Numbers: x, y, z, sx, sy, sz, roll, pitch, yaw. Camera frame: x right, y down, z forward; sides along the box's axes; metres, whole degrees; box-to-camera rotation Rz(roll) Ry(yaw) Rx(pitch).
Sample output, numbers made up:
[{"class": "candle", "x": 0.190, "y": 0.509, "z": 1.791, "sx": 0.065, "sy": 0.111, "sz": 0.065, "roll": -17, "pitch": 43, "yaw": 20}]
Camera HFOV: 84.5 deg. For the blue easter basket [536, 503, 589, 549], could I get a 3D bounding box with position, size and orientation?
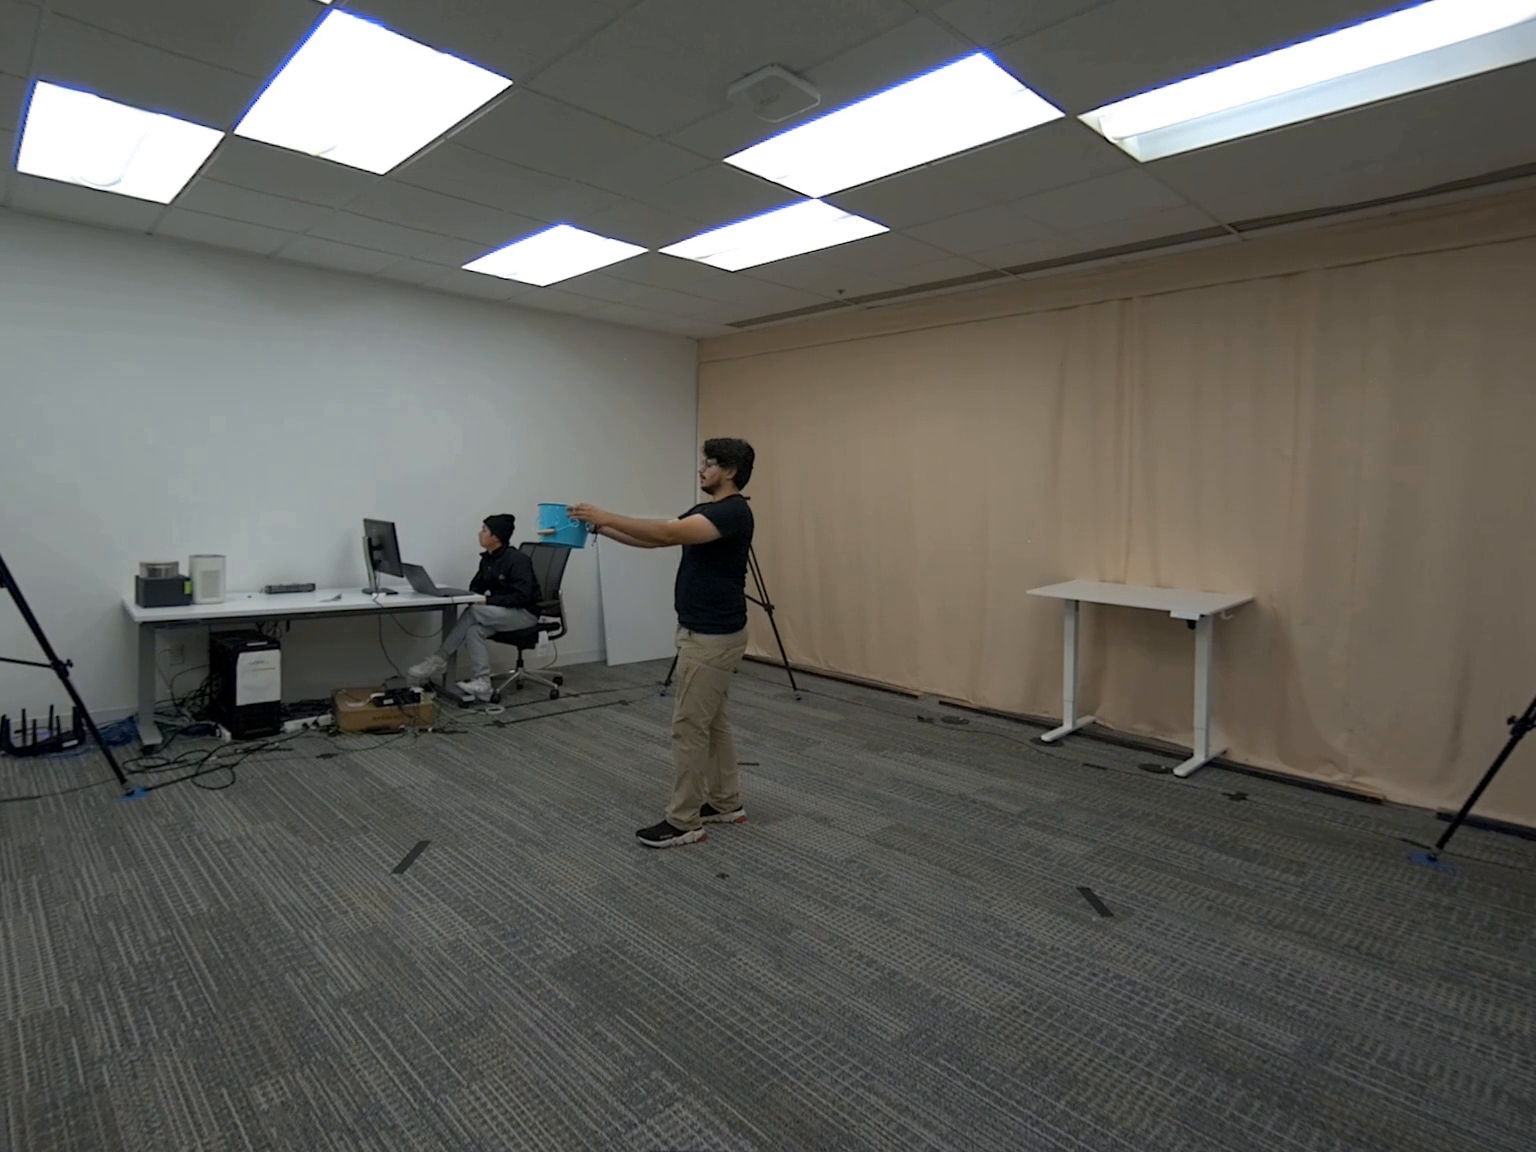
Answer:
[{"class": "blue easter basket", "x": -0.830, "y": -0.197, "z": 3.395, "sx": 0.243, "sy": 0.156, "sz": 0.243, "roll": 5, "pitch": -5, "yaw": -1}]
